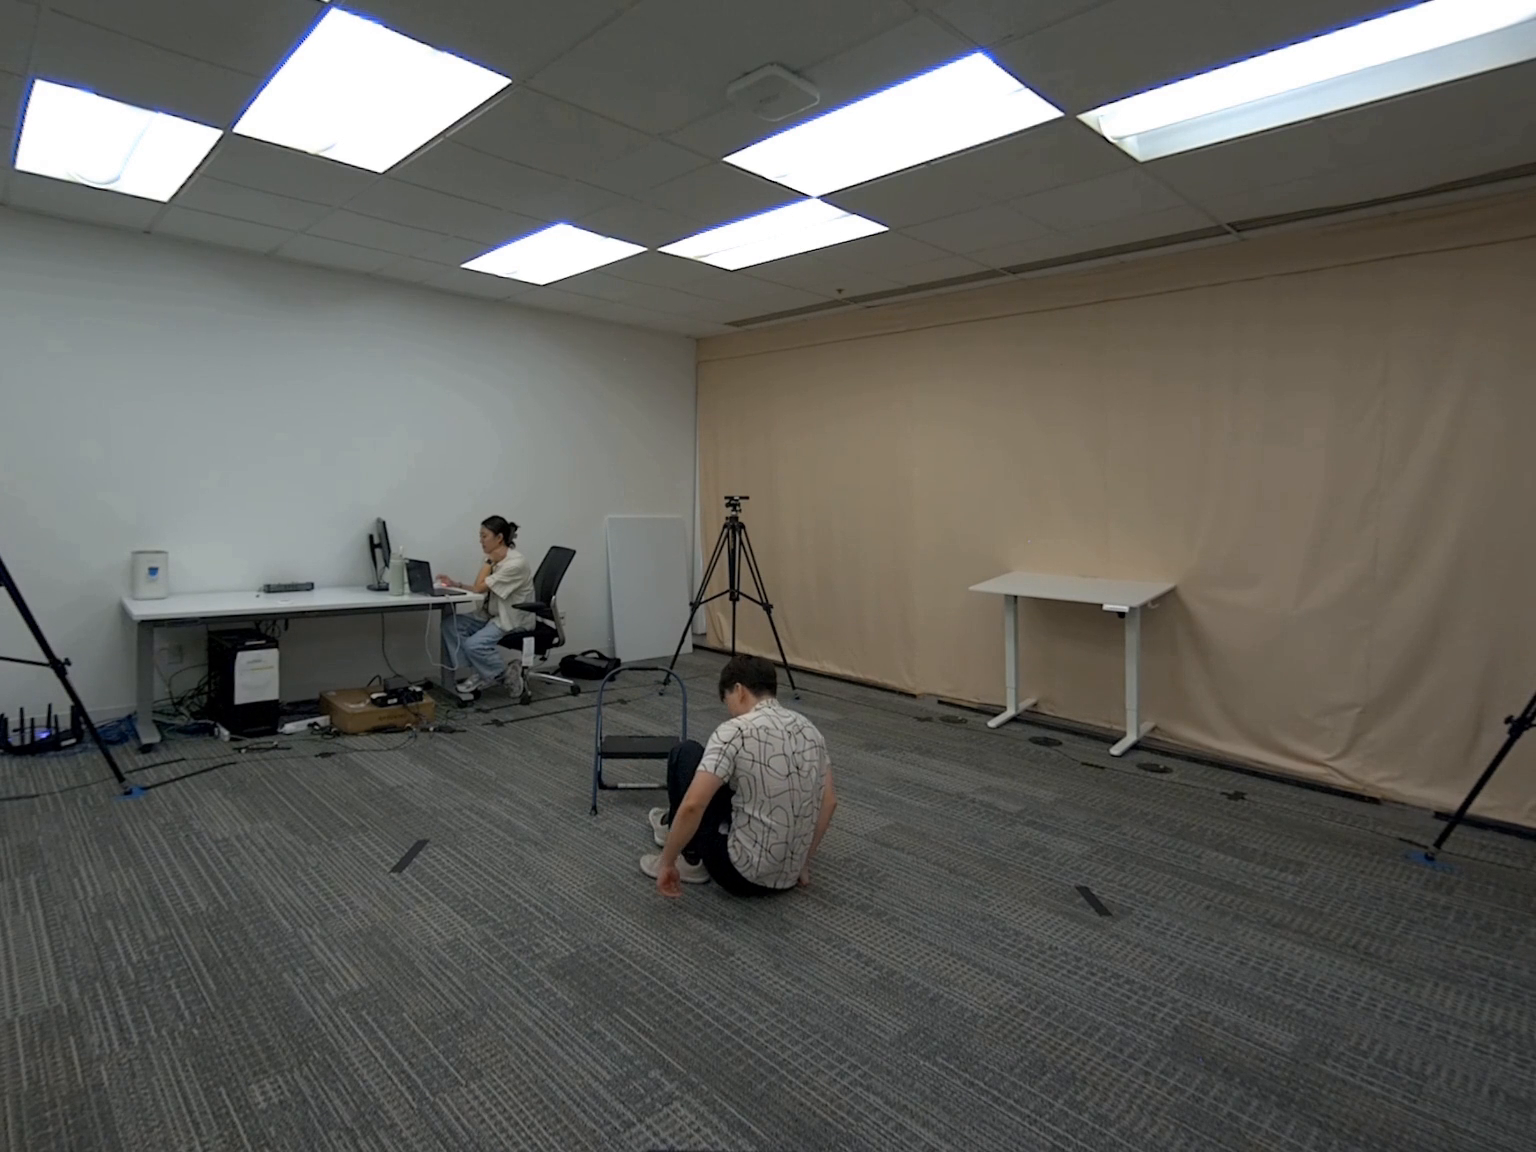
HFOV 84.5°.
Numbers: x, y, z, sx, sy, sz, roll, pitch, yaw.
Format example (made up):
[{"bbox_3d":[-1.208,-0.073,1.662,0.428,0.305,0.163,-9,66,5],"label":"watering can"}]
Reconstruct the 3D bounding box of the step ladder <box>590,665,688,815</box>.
[{"bbox_3d":[-0.585,0.728,3.838,0.428,0.605,0.352,1,3,-6],"label":"step ladder"}]
